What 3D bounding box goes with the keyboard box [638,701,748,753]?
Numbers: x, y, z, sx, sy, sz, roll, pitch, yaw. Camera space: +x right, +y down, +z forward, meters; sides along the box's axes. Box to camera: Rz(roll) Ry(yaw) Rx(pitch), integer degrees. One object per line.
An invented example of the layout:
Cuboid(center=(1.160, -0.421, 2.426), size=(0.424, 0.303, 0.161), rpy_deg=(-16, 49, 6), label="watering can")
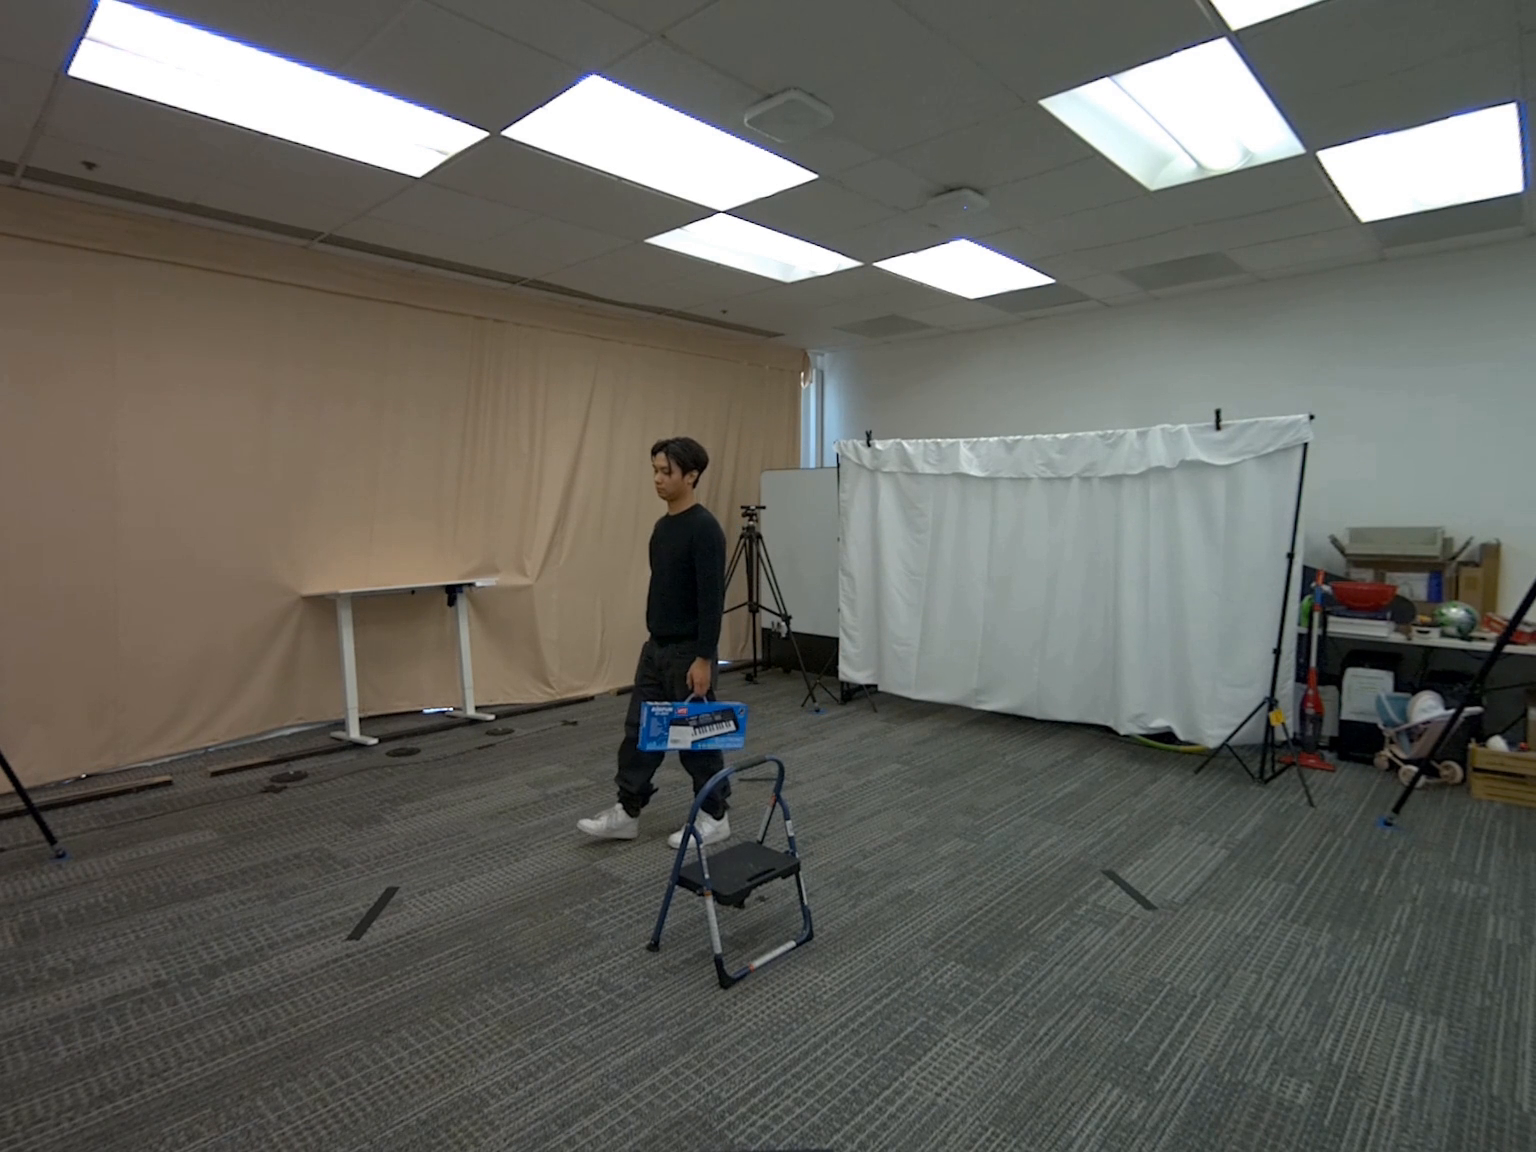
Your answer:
Cuboid(center=(-0.277, 0.574, 3.224), size=(0.424, 0.176, 0.061), rpy_deg=(6, -2, -32), label="keyboard box")
